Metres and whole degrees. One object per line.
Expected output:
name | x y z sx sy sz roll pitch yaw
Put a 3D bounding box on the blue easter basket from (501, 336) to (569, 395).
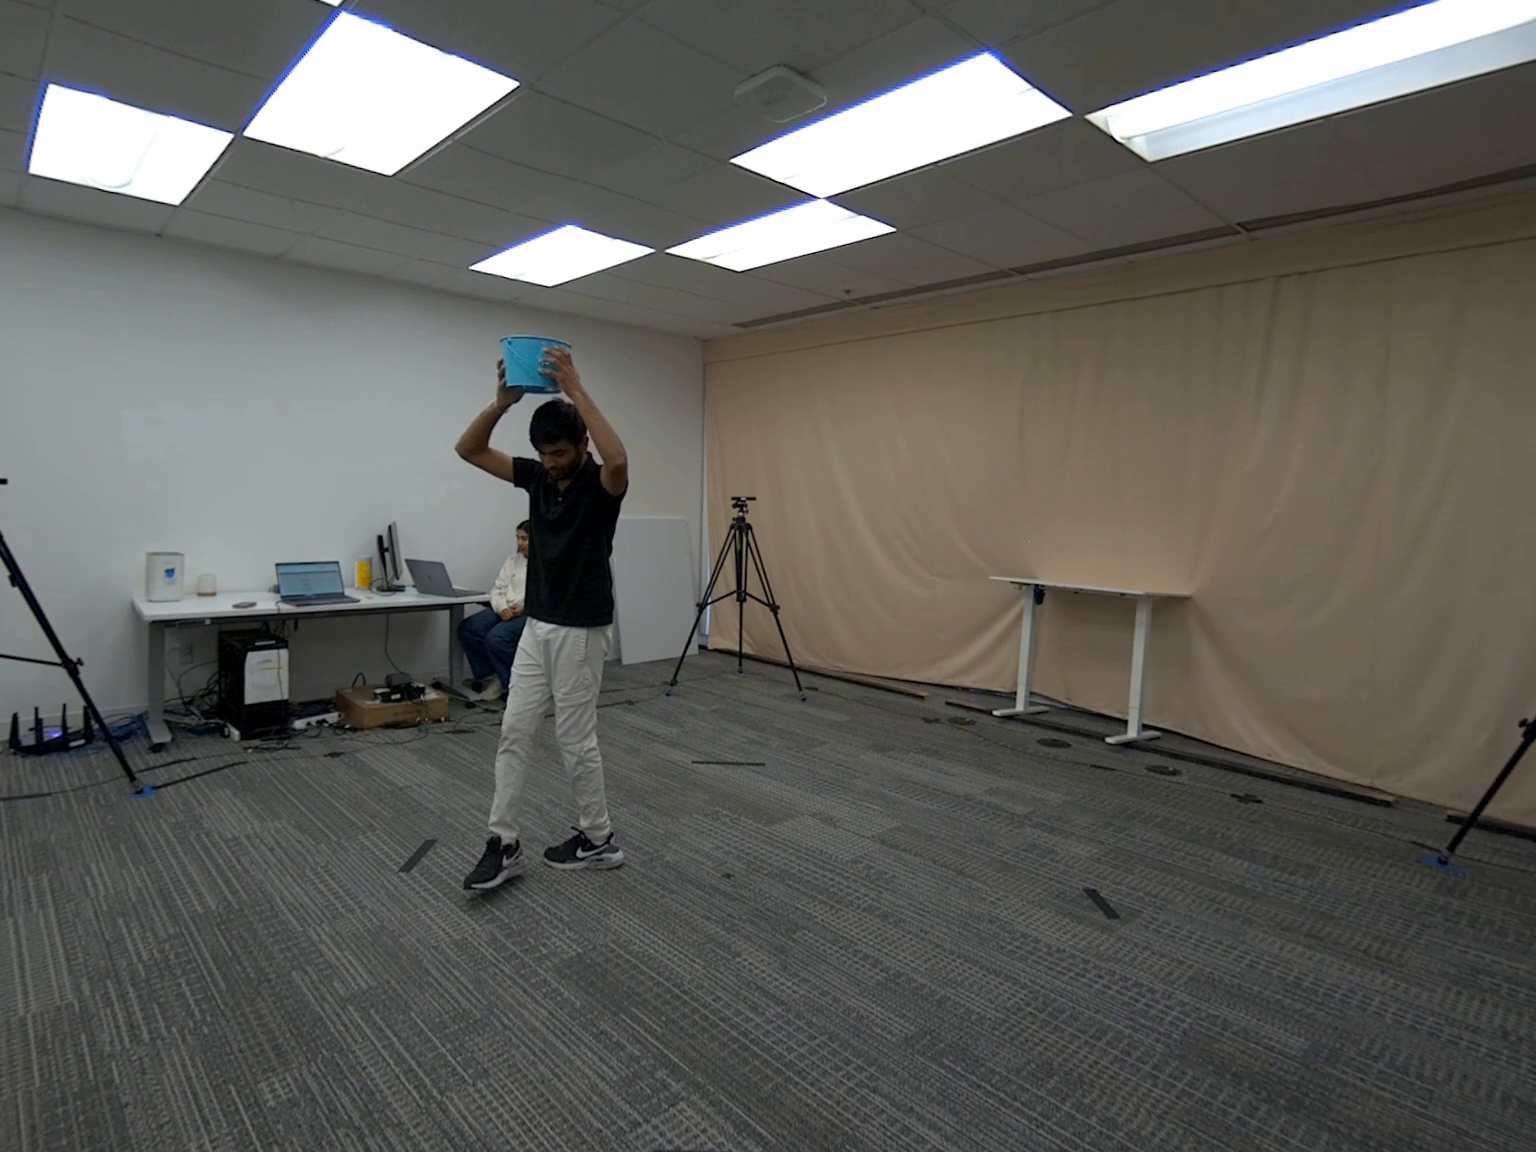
blue easter basket | -0.782 -0.690 2.762 0.243 0.155 0.244 1 5 -1
